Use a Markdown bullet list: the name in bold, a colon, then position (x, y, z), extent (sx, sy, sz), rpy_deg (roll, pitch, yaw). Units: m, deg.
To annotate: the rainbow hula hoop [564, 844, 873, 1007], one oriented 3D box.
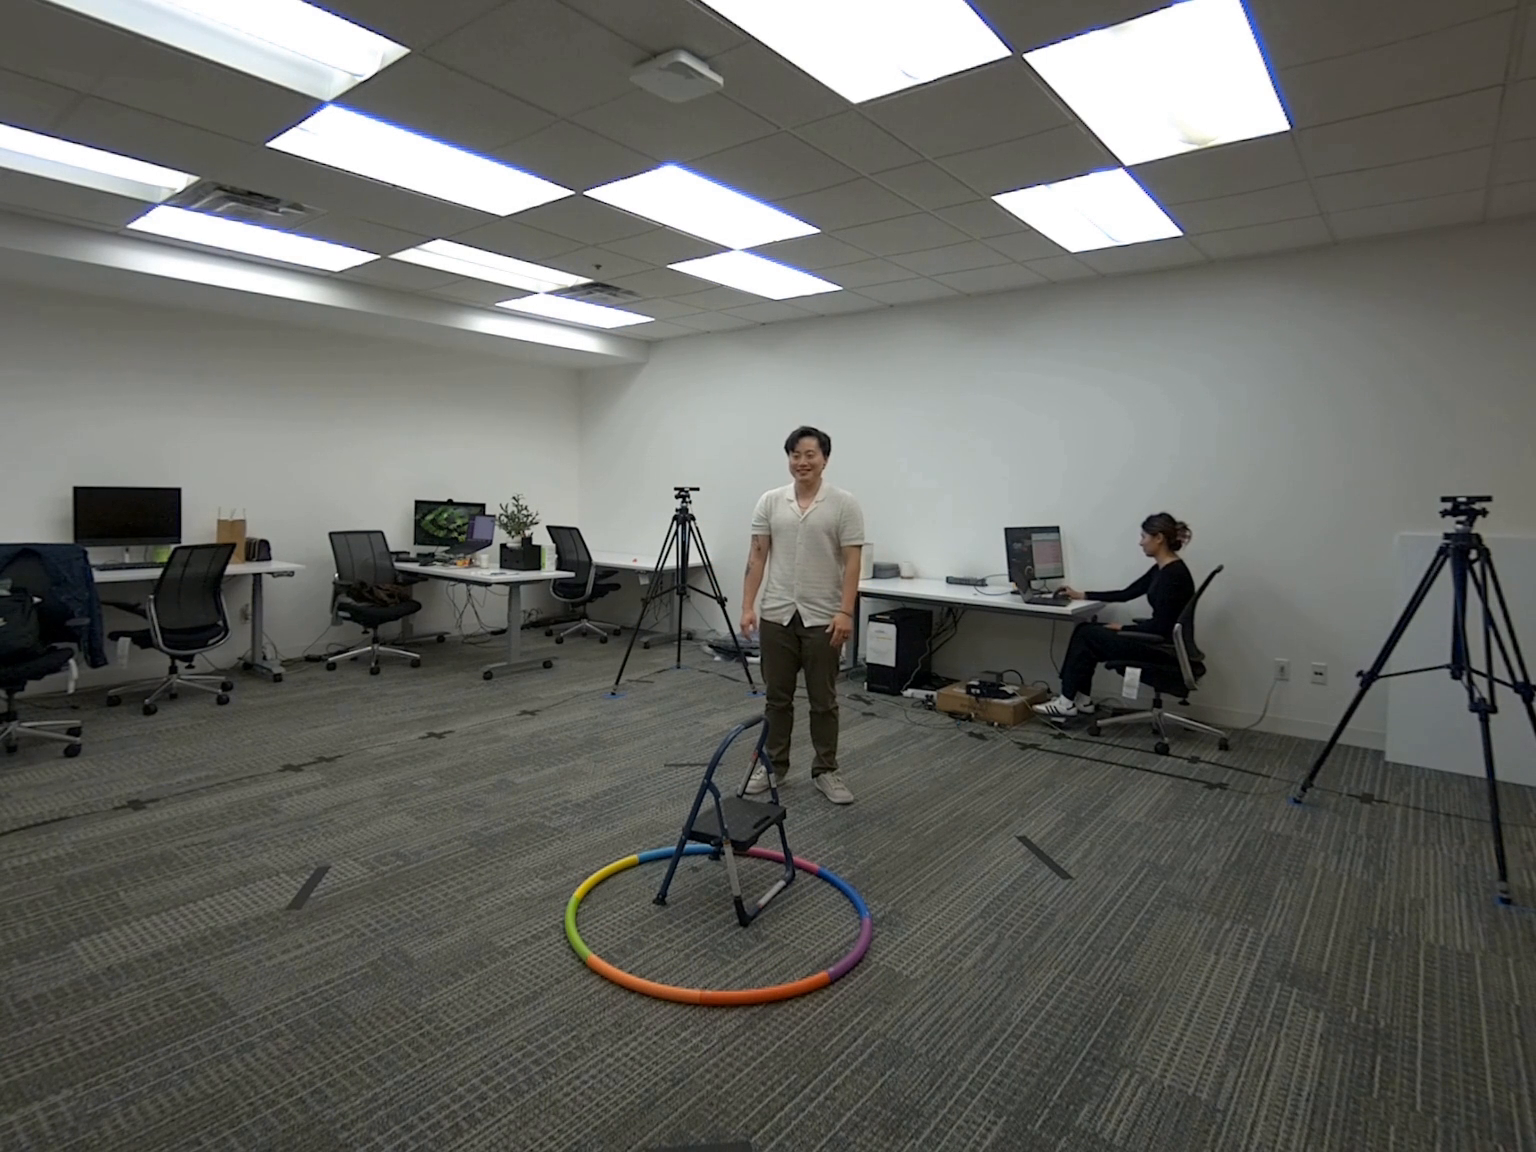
- **rainbow hula hoop**: position (-0.168, 1.071, 2.763), extent (0.978, 0.035, 0.984), rpy_deg (1, 6, -2)
